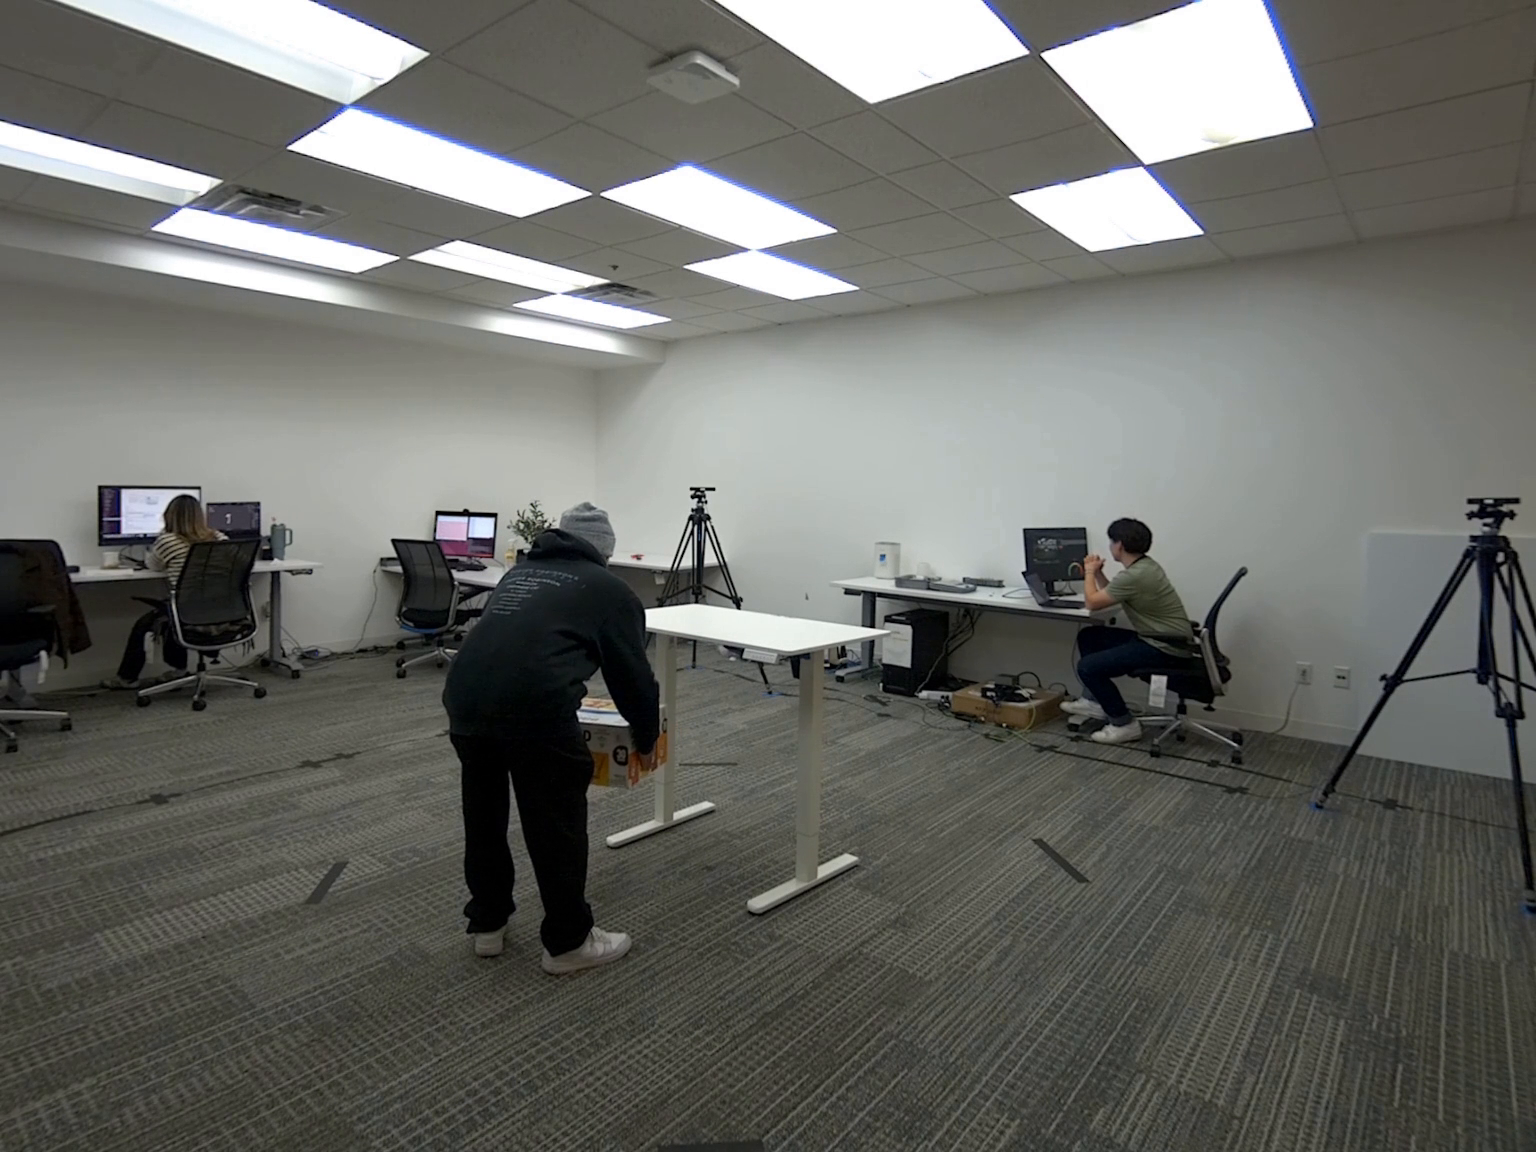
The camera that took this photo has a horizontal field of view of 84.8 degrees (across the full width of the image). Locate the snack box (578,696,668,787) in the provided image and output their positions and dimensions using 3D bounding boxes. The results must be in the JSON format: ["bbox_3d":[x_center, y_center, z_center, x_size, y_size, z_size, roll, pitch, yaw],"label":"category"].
[{"bbox_3d":[-0.602,0.553,2.886,0.412,0.205,0.335,2,3,16],"label":"snack box"}]
